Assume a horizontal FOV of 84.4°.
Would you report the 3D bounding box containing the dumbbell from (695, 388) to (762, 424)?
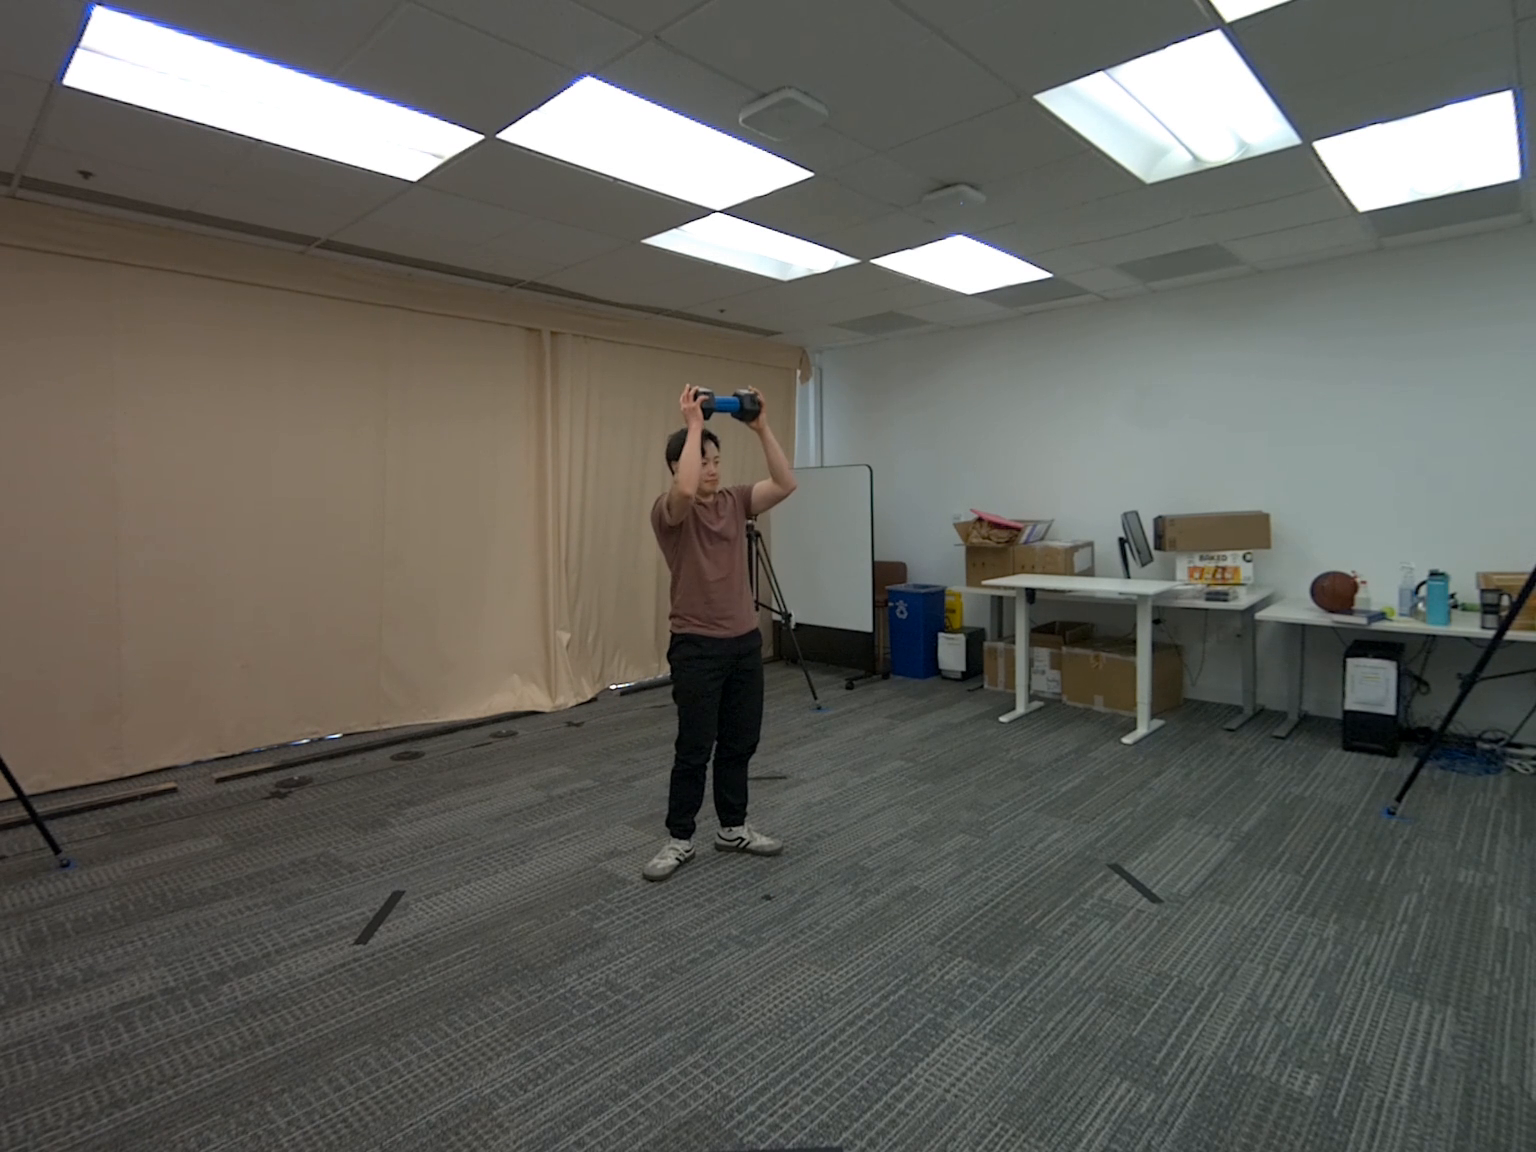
[{"bbox_3d":[-0.166,-0.621,3.105,0.285,0.123,0.111,-7,-2,-37],"label":"dumbbell"}]
